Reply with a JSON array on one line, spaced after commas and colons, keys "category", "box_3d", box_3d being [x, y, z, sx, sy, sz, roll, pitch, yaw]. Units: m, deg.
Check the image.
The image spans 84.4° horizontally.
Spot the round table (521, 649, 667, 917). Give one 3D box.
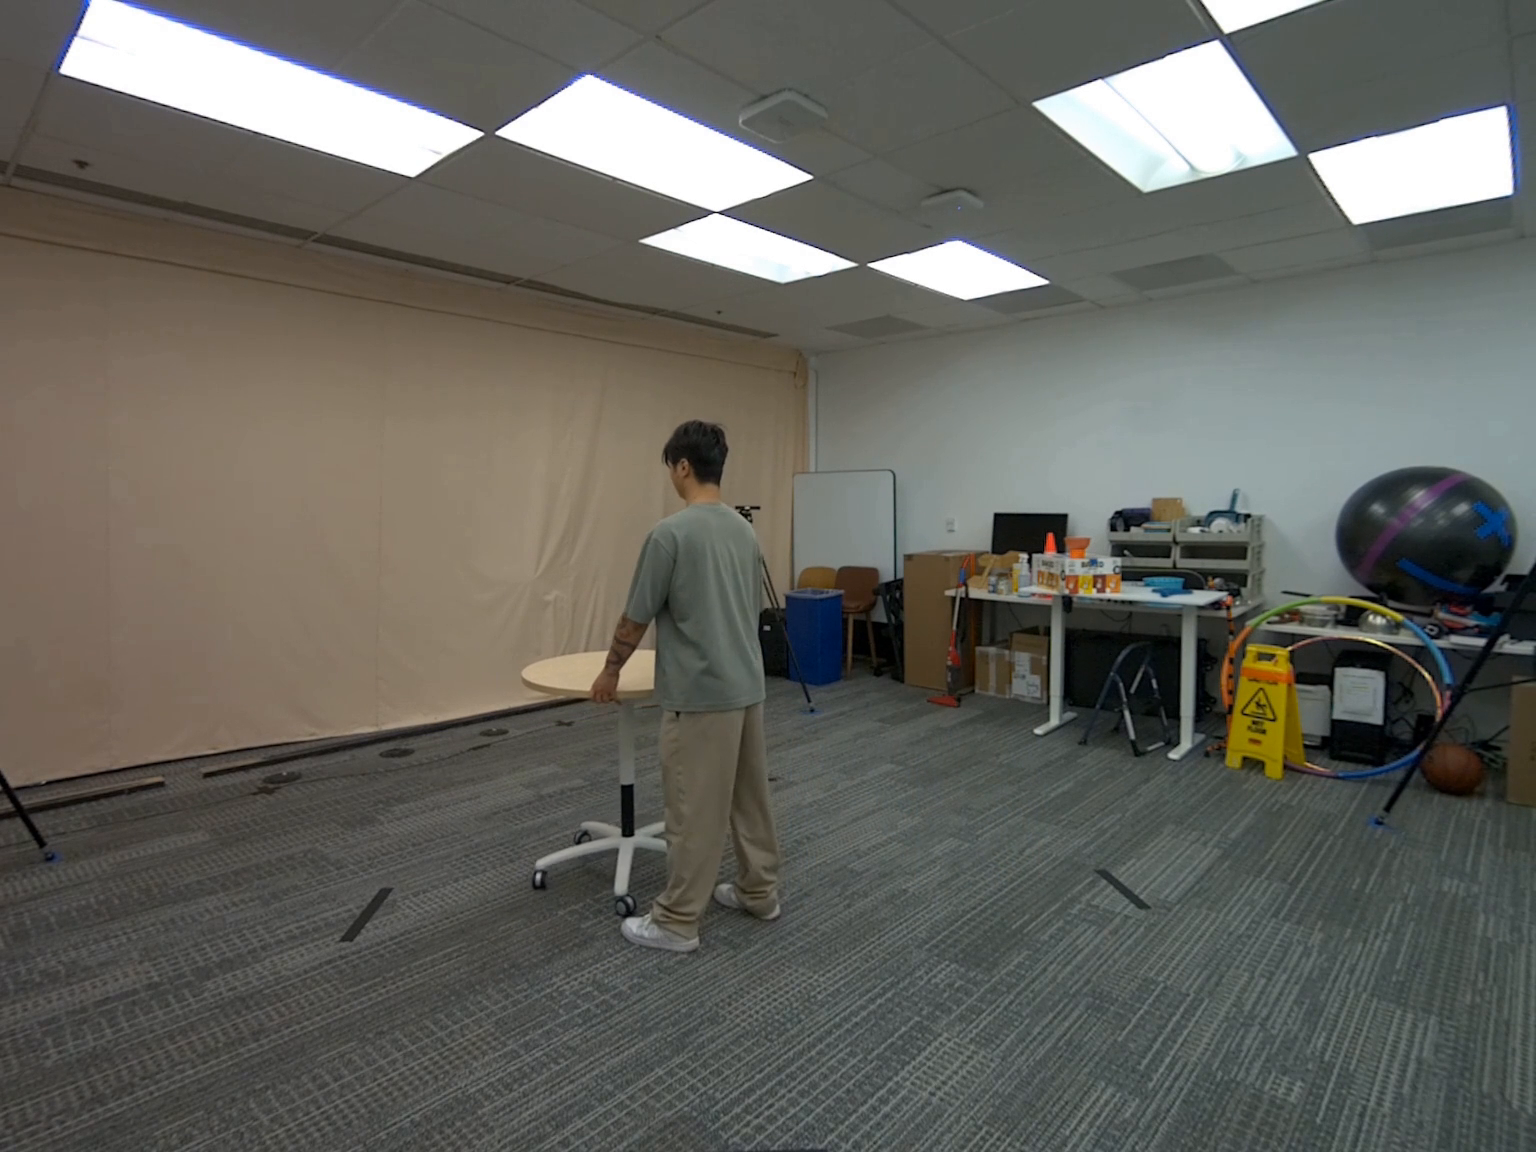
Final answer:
[{"category": "round table", "box_3d": [-0.541, 0.735, 3.210, 0.784, 0.785, 0.788, -1, 4, -2]}]
